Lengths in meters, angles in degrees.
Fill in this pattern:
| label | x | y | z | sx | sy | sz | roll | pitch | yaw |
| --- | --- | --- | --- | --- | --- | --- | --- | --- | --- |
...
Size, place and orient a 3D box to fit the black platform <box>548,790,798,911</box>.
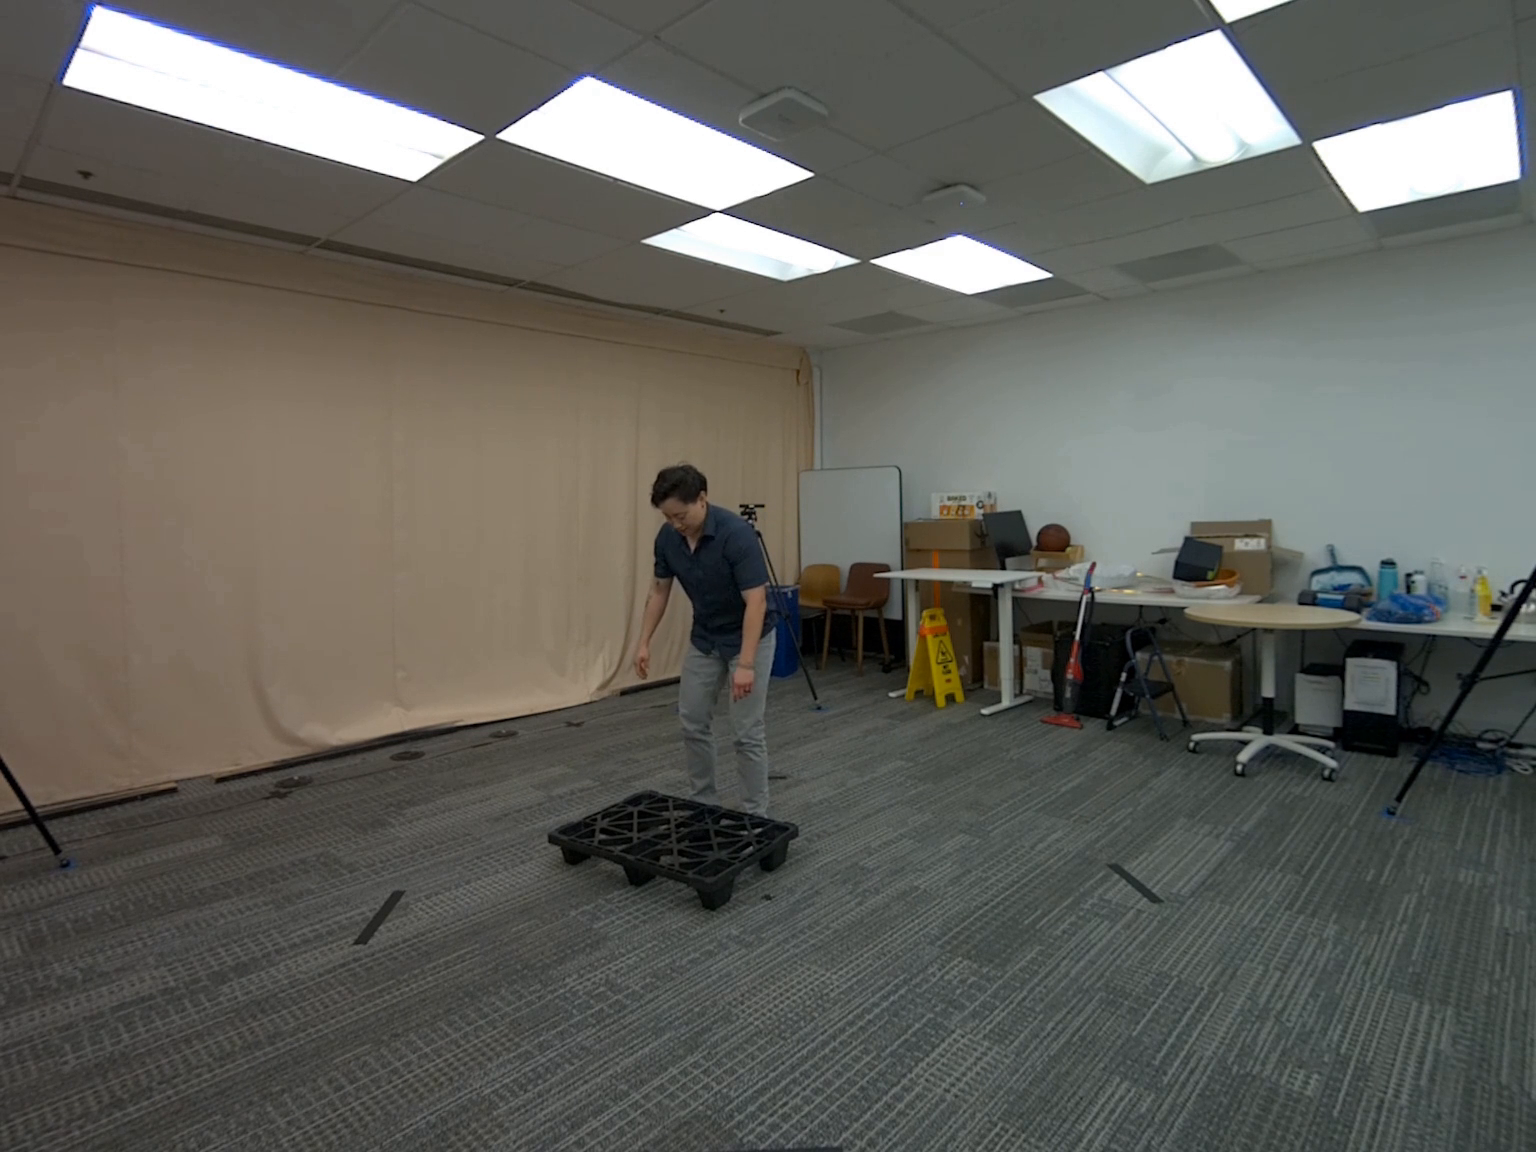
| label | x | y | z | sx | sy | sz | roll | pitch | yaw |
| --- | --- | --- | --- | --- | --- | --- | --- | --- | --- |
| black platform | -0.369 | 1.054 | 3.288 | 0.830 | 0.143 | 0.588 | 2 | 5 | 34 |
